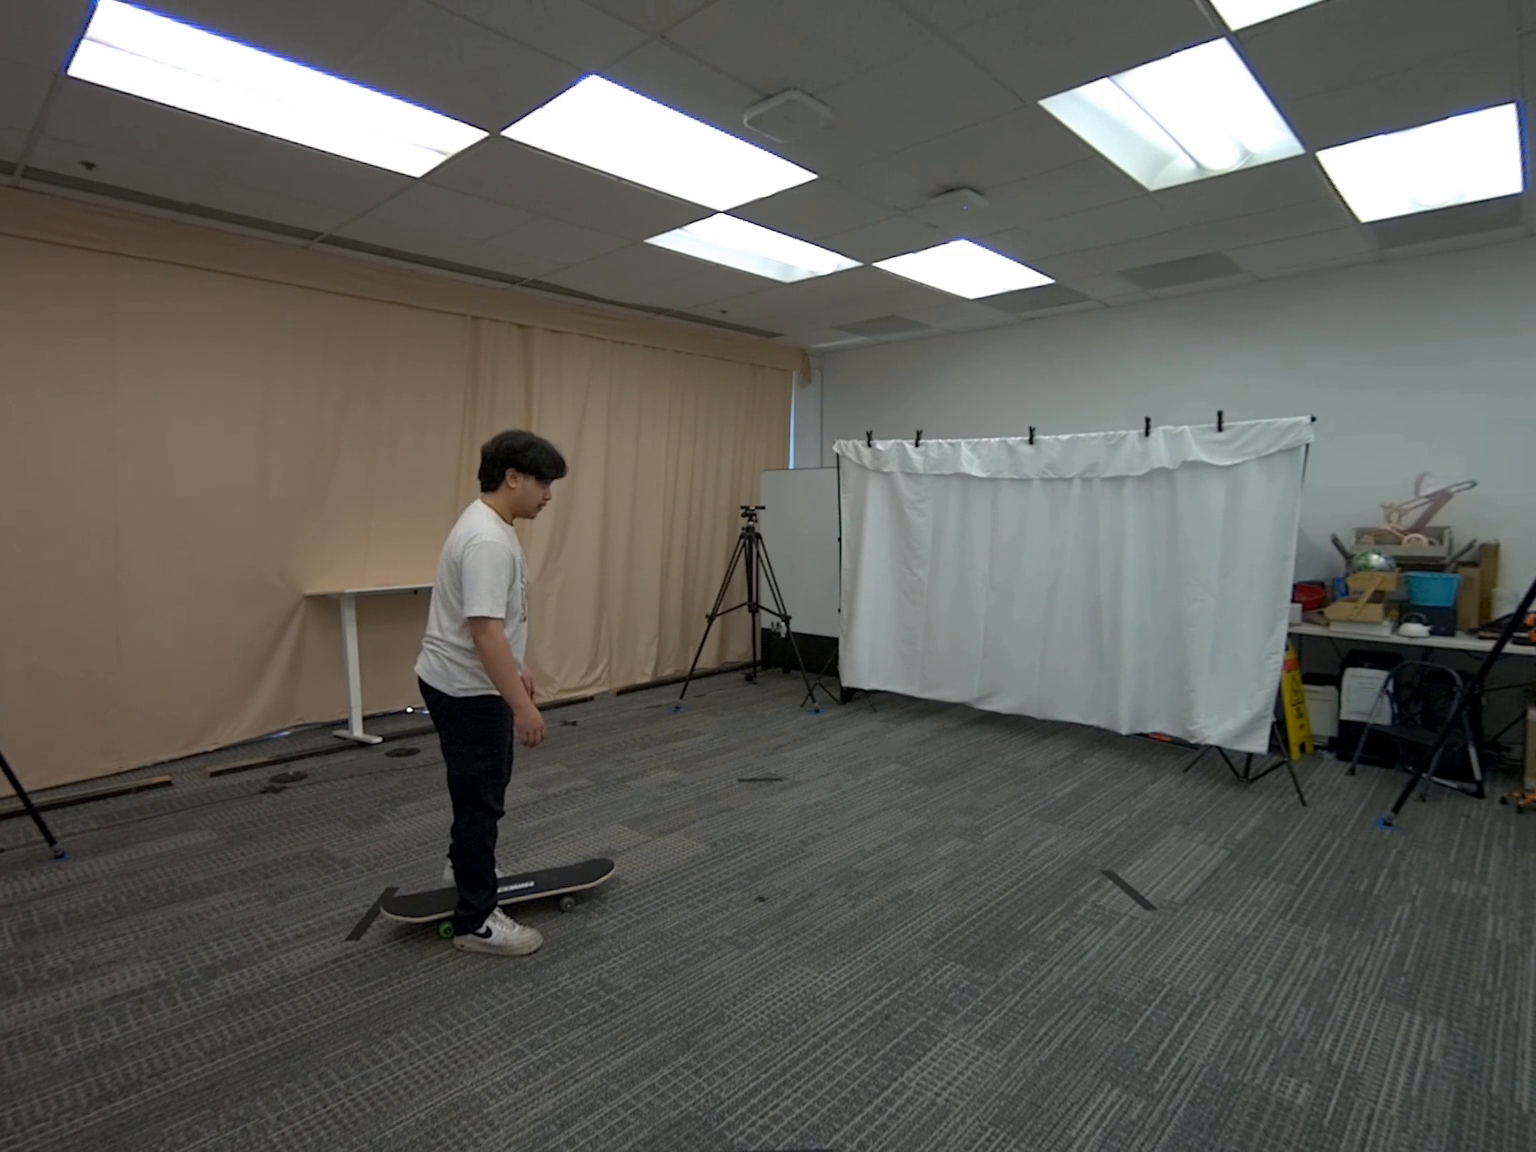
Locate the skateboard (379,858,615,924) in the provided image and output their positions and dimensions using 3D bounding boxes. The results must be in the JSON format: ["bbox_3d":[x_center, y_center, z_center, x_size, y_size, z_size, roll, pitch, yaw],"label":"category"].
[{"bbox_3d":[-0.904,1.106,2.882,0.767,0.110,0.198,-3,5,-25],"label":"skateboard"}]
